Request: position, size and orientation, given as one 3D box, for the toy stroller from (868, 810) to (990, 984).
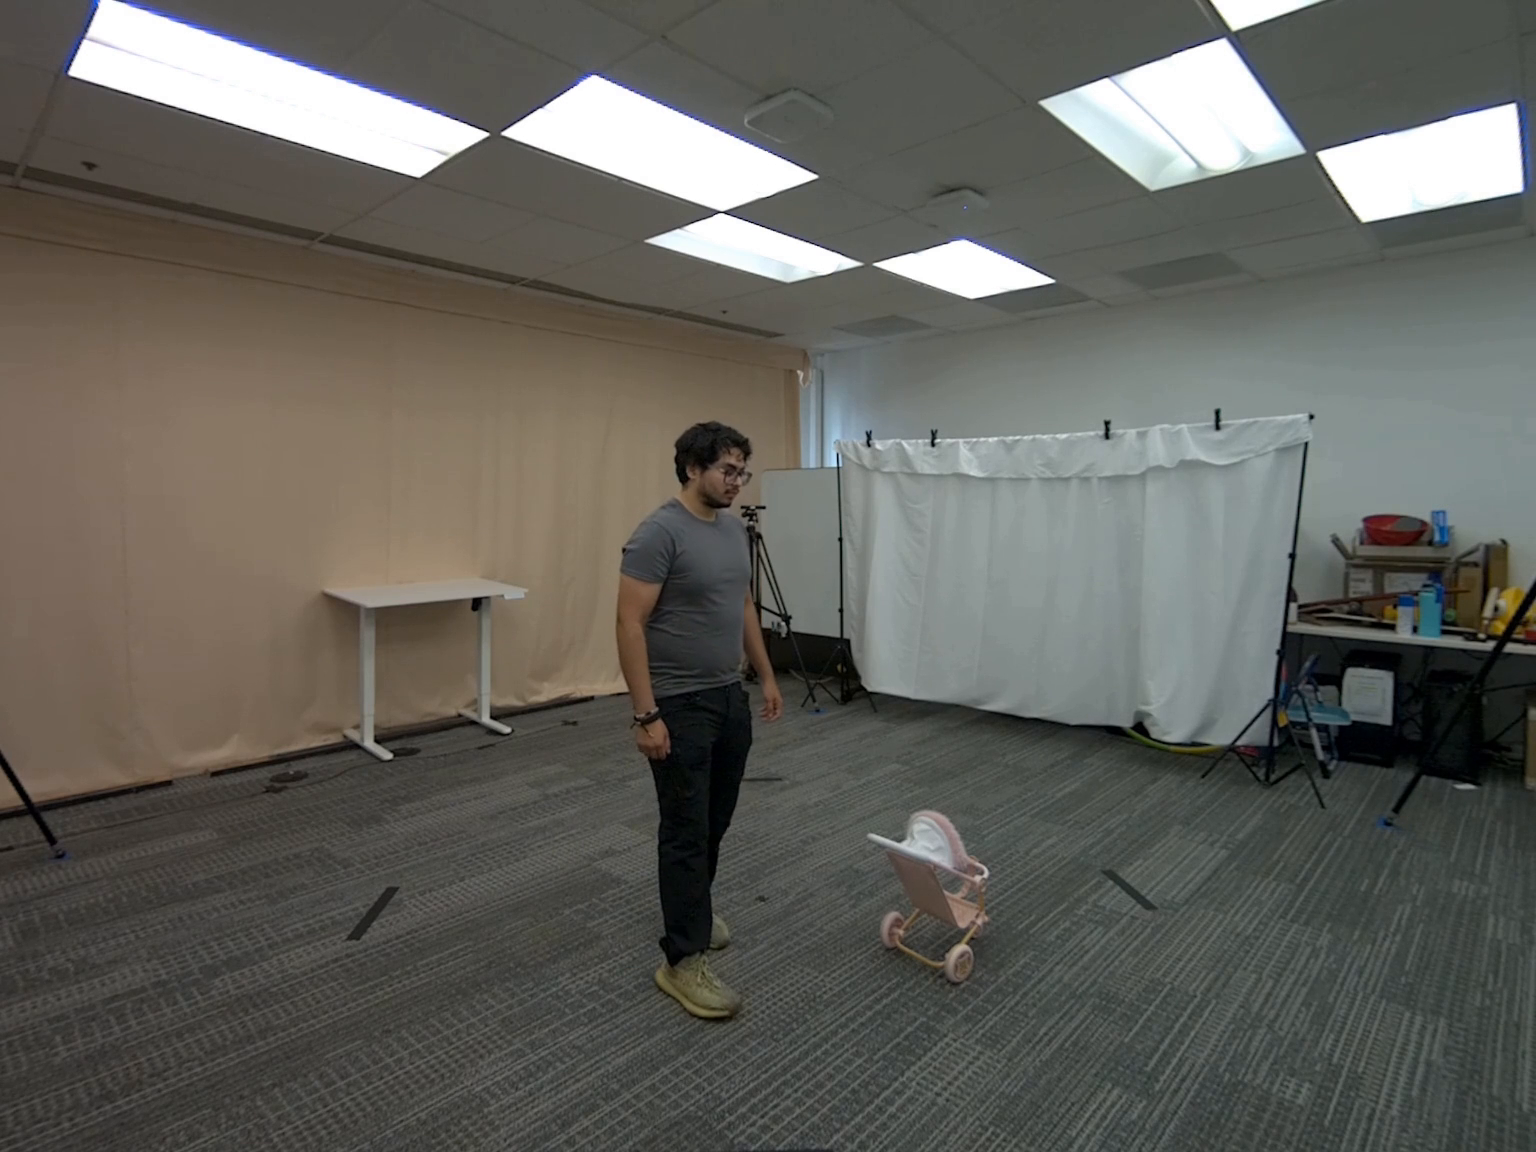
[{"bbox_3d":[0.529,0.957,2.573,0.334,0.529,0.290,-23,16,-33],"label":"toy stroller"}]
